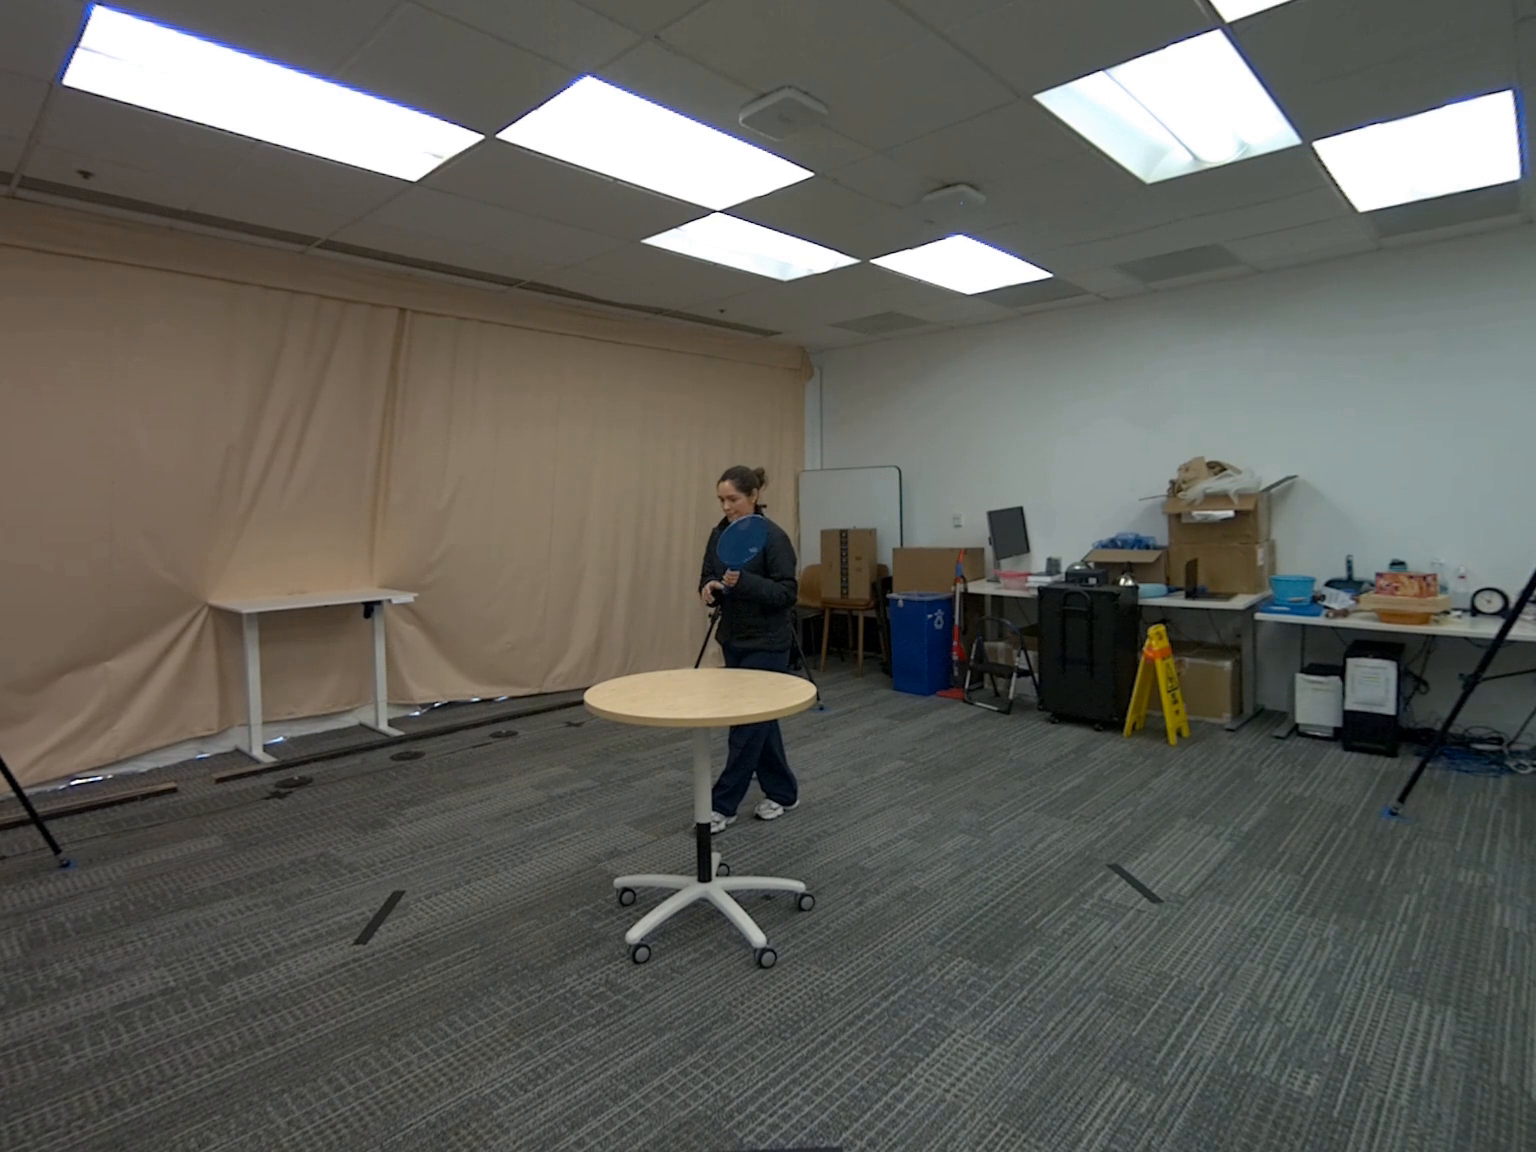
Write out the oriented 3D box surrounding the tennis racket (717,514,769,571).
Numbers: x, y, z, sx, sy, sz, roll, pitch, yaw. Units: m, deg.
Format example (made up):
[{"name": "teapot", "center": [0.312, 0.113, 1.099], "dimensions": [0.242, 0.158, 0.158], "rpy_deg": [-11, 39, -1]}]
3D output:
[{"name": "tennis racket", "center": [-0.107, -0.088, 3.349], "dimensions": [0.211, 0.424, 0.033], "rpy_deg": [-19, 51, -13]}]
